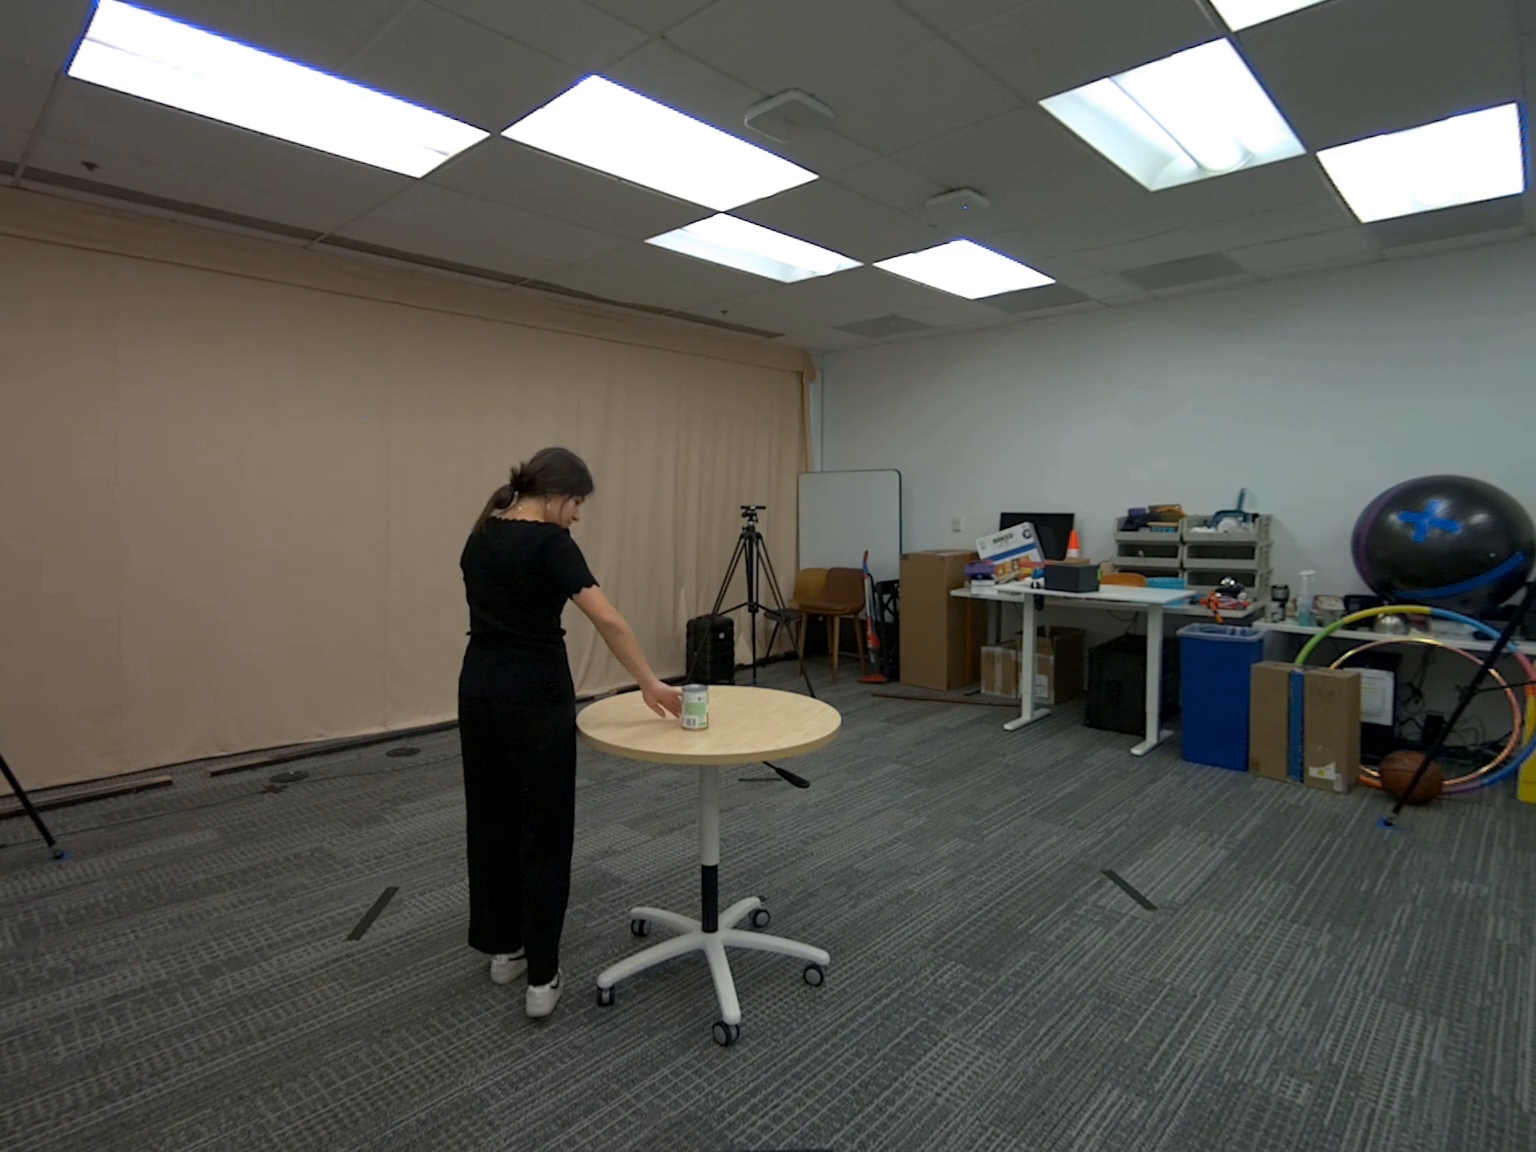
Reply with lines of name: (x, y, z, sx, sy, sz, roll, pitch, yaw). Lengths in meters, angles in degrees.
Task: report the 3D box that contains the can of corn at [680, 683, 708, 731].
can of corn: (-0.204, 0.367, 2.294, 0.074, 0.110, 0.074, -2, 6, -2)
